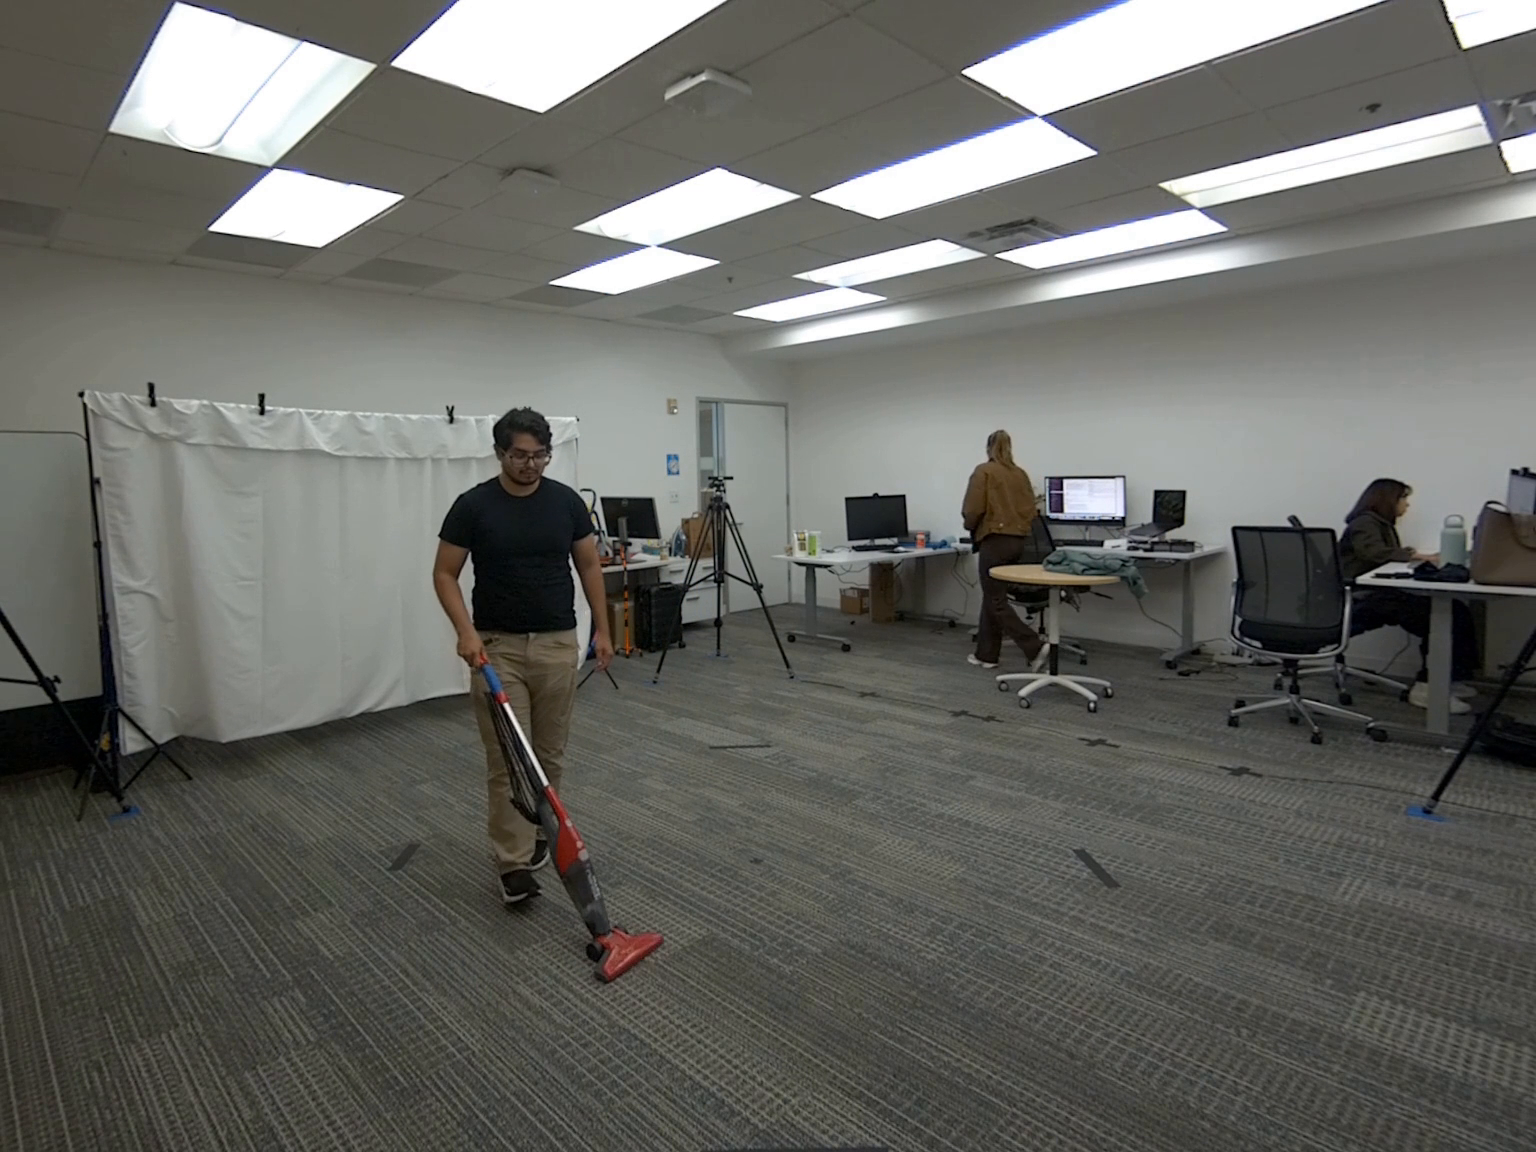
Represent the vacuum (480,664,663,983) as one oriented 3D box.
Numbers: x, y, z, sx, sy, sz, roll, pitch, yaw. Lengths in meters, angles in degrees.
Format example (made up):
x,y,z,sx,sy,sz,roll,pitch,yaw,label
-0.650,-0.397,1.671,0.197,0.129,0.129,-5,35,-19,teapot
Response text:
x,y,z,sx,sy,sz,roll,pitch,yaw,label
-0.693,0.683,2.663,0.144,1.071,0.246,-42,-19,32,vacuum
